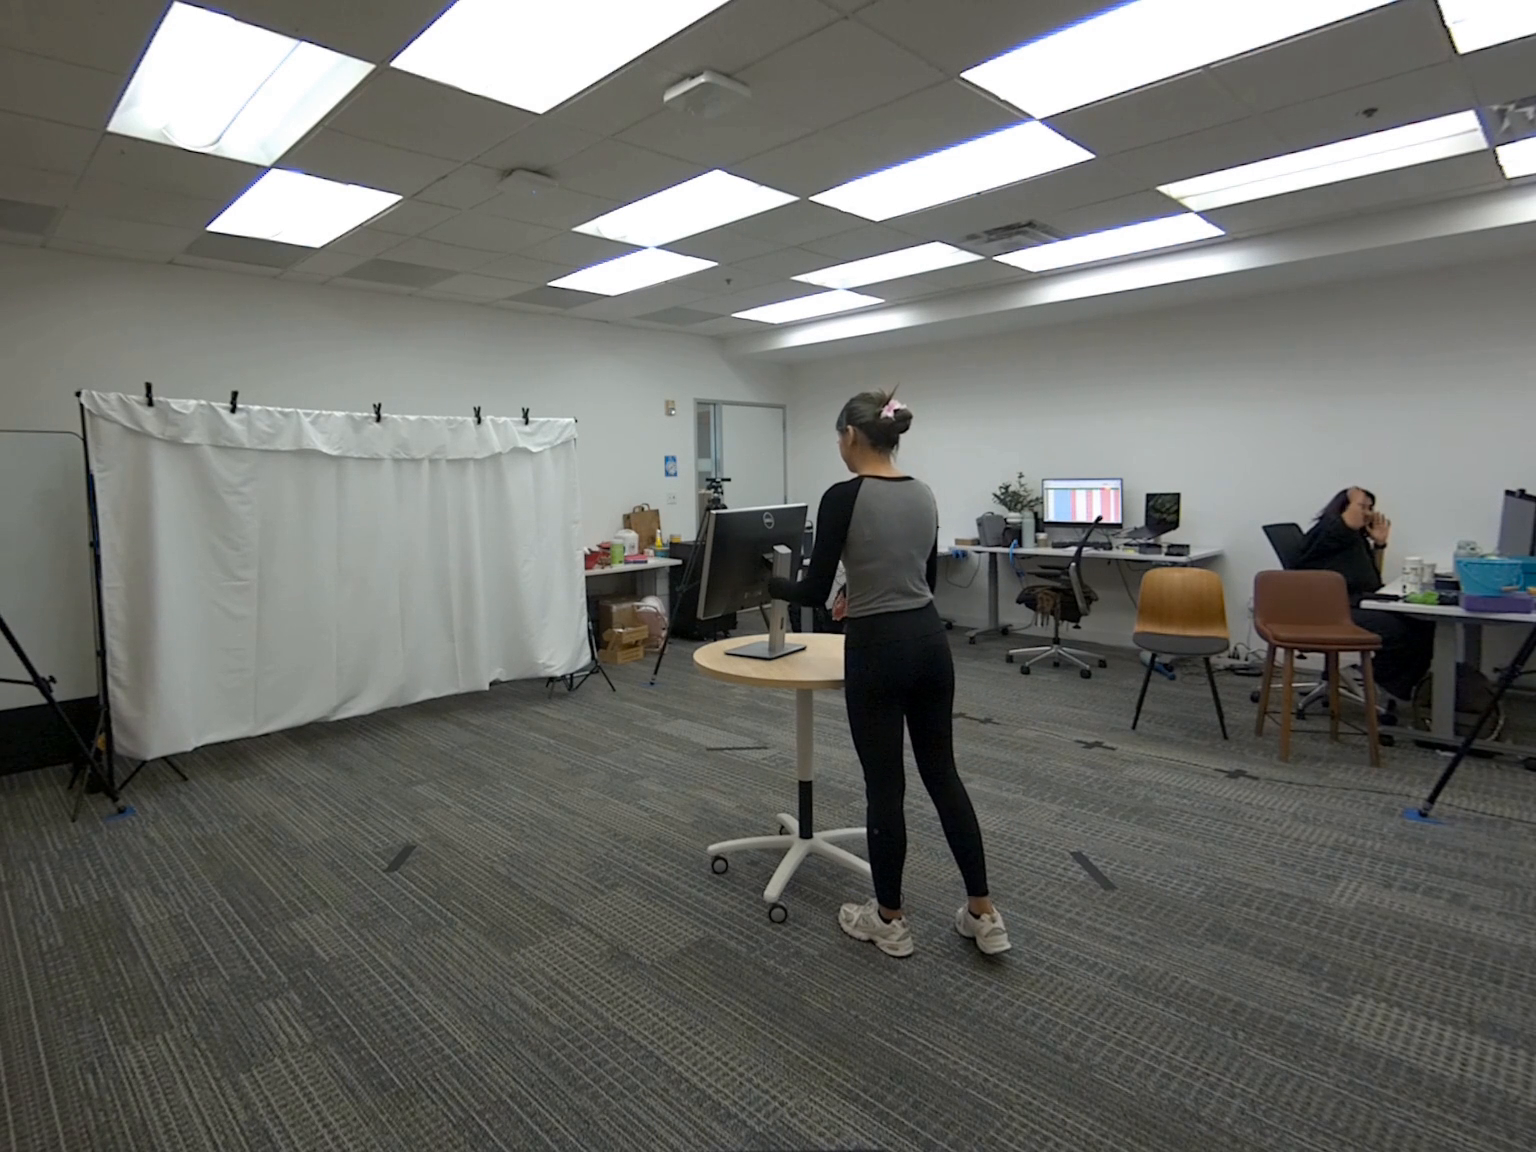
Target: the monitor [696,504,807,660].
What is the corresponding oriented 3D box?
[{"bbox_3d":[-0.014,0.019,2.981,0.179,0.516,0.517,-7,2,37],"label":"monitor"}]
